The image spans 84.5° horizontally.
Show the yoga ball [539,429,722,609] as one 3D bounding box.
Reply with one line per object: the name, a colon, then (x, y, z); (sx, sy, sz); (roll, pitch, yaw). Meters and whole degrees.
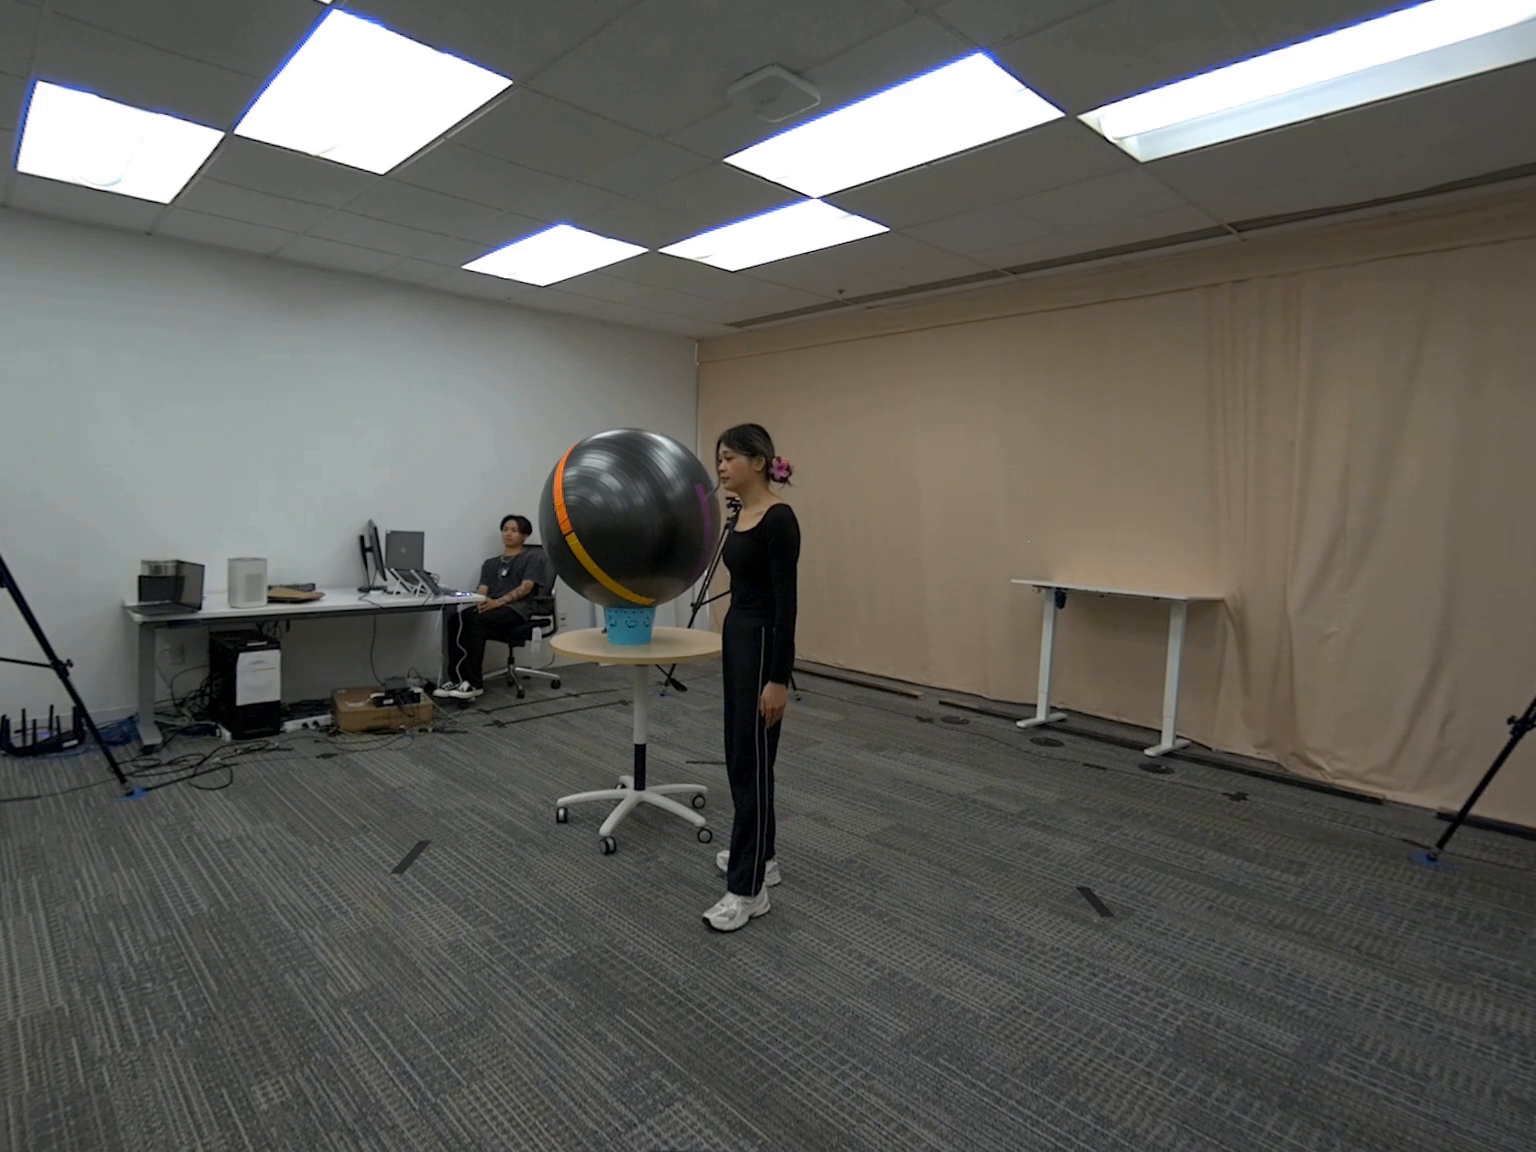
yoga ball: (-0.577, -0.235, 3.528); (0.757, 0.756, 0.761); (1, 4, -1)
